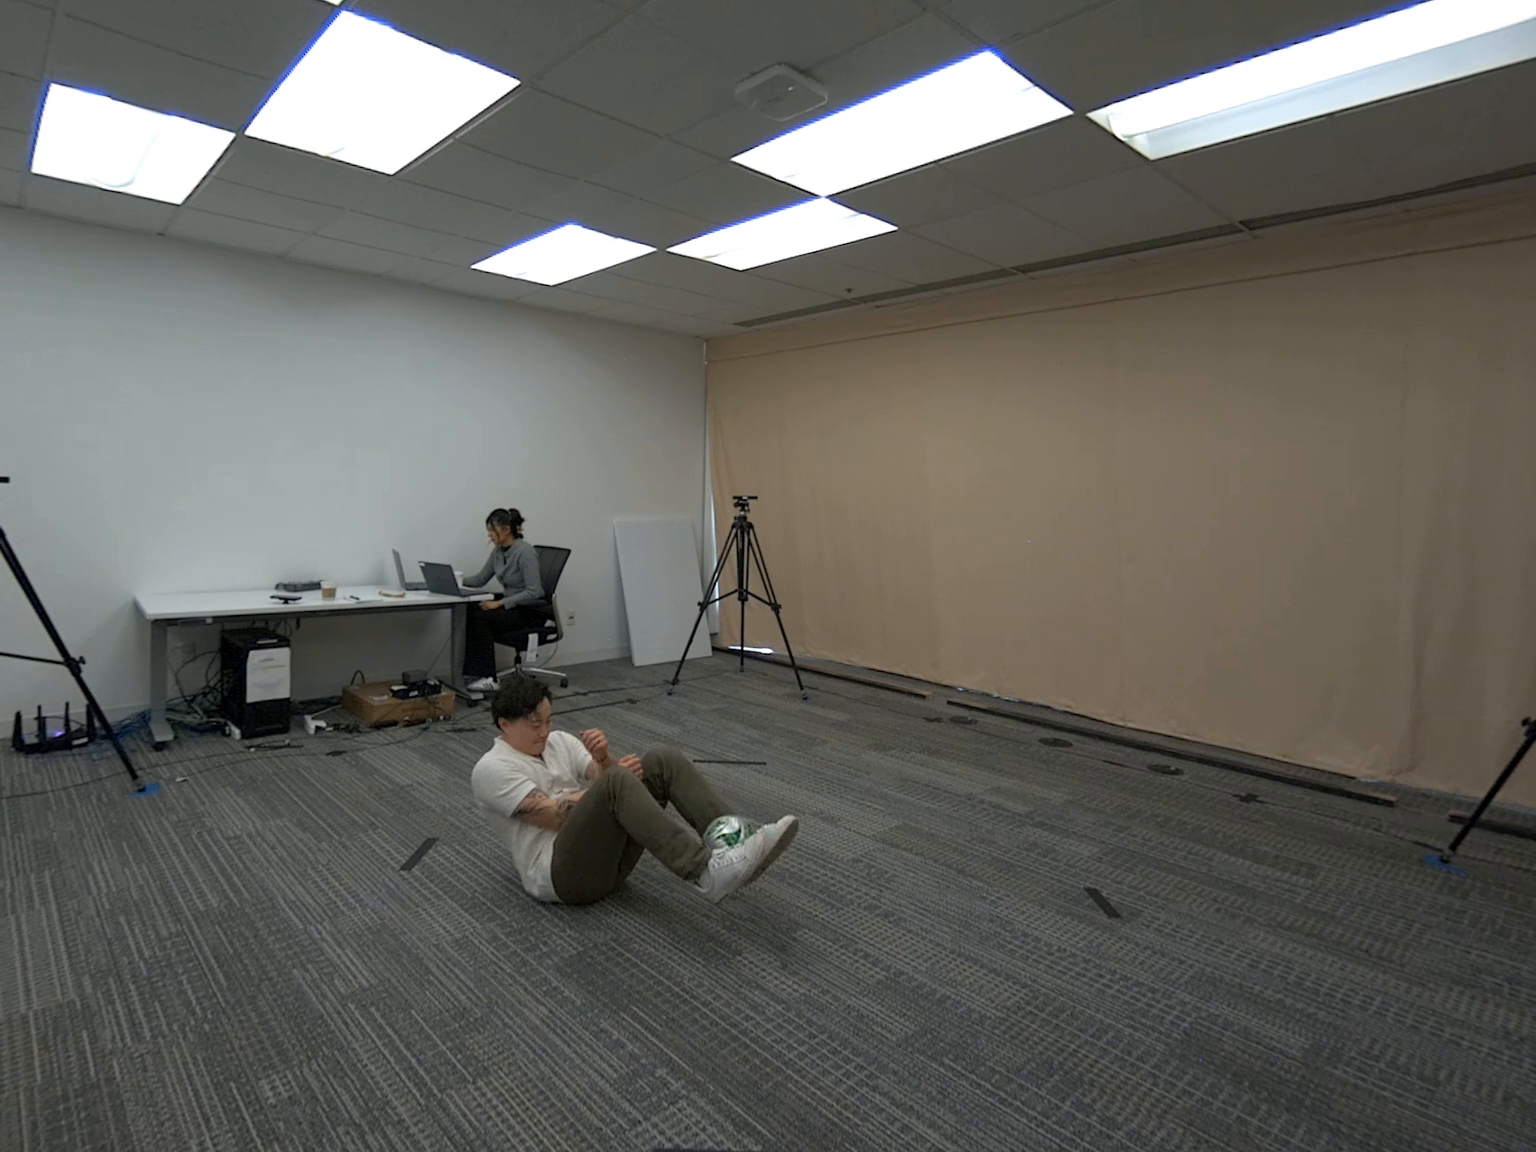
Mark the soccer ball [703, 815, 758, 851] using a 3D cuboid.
[{"bbox_3d":[-0.133,0.860,2.681,0.187,0.187,0.188,1,4,-1],"label":"soccer ball"}]
